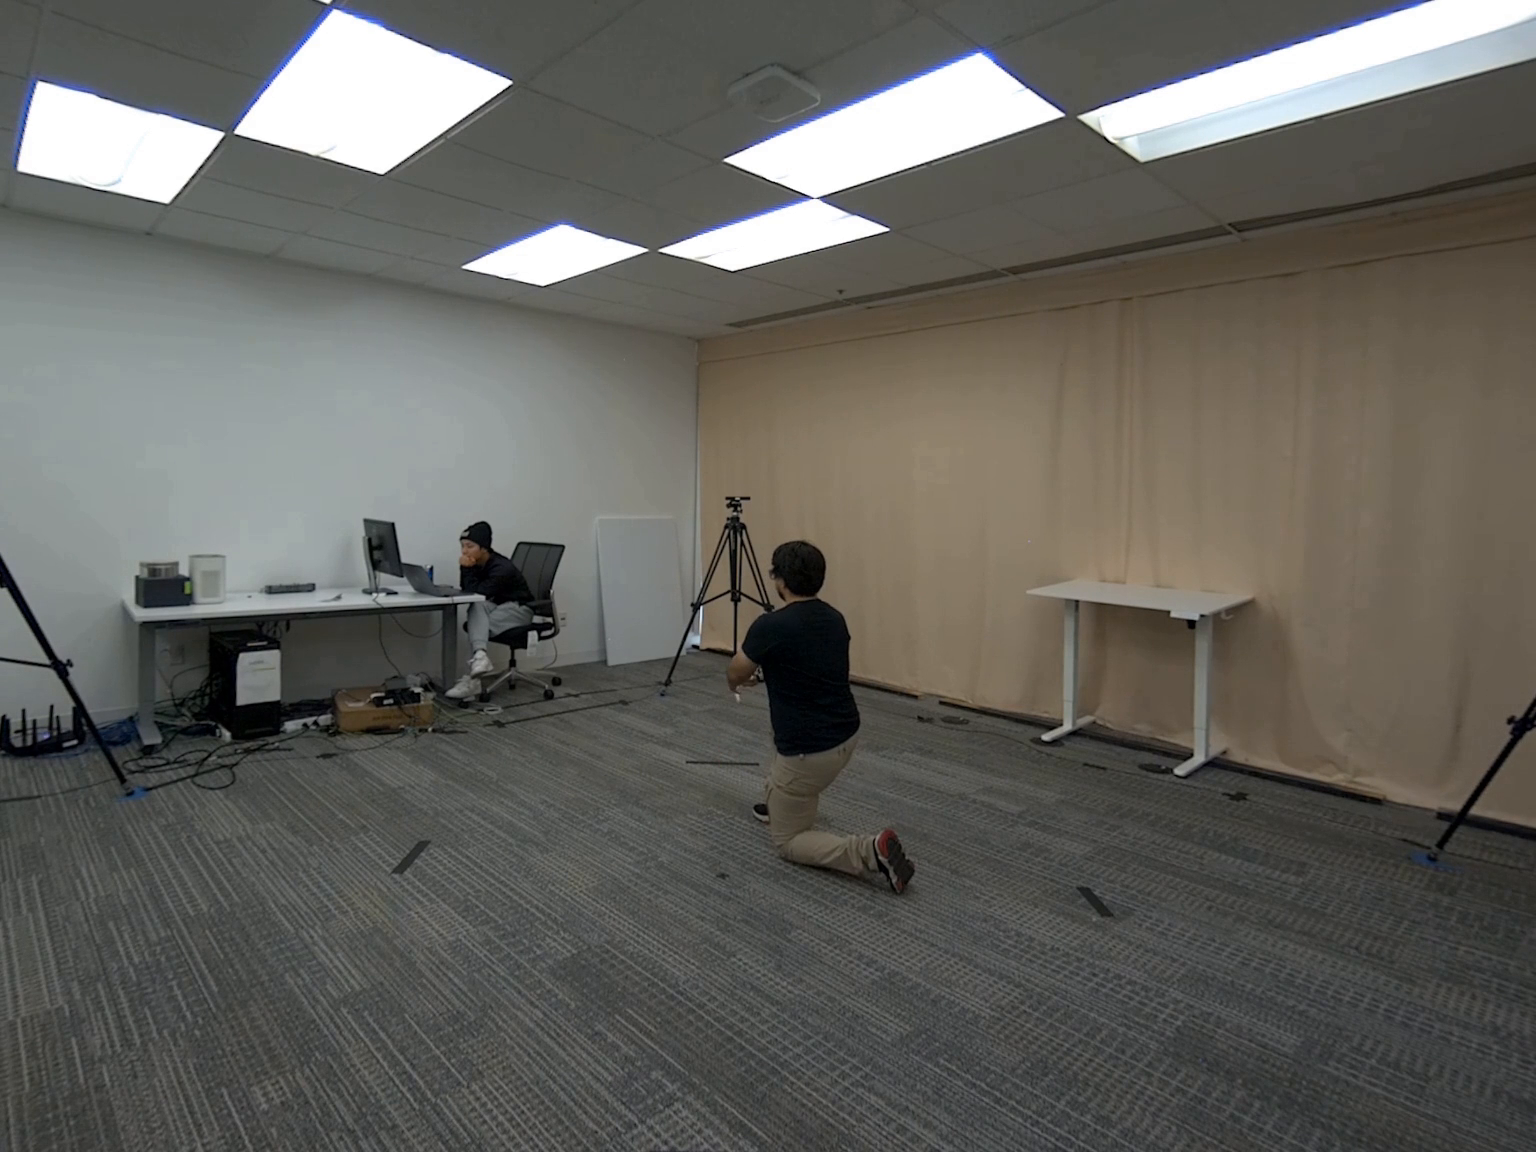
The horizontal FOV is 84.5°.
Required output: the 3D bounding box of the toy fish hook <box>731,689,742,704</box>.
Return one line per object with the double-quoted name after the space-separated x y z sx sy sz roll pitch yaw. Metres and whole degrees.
-0.128 0.497 3.940 0.048 0.224 0.508 -4 3 -5 "toy fish hook"
